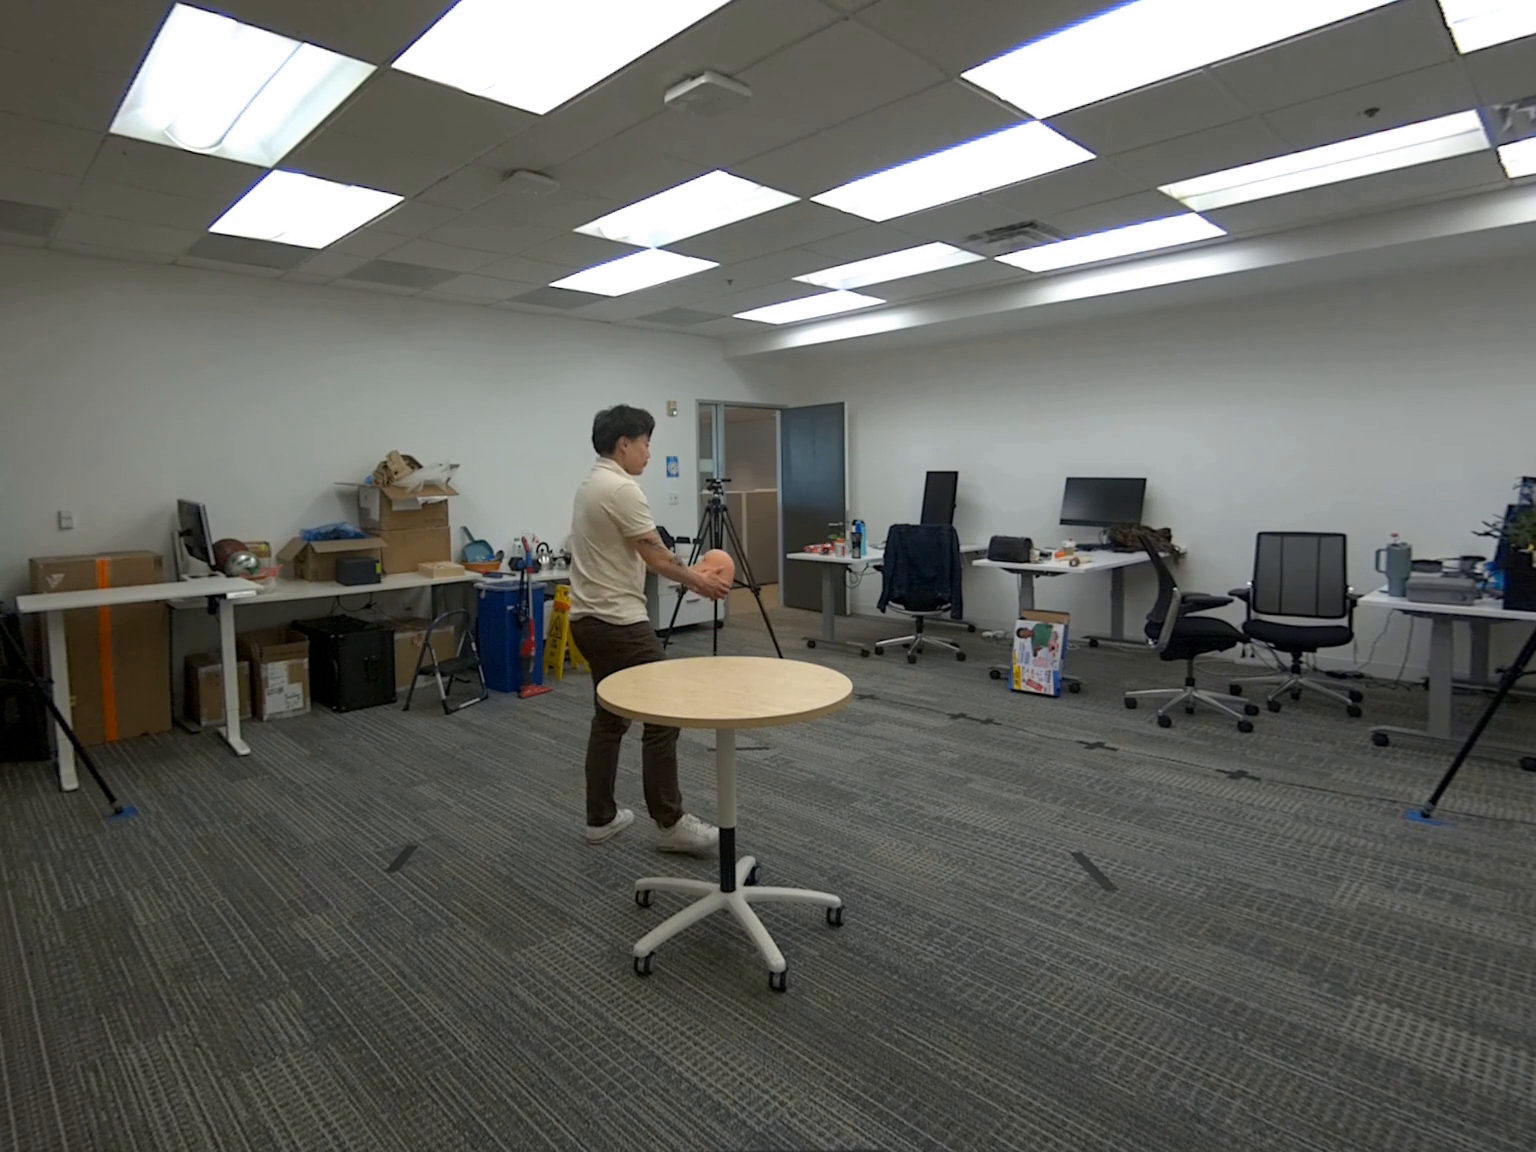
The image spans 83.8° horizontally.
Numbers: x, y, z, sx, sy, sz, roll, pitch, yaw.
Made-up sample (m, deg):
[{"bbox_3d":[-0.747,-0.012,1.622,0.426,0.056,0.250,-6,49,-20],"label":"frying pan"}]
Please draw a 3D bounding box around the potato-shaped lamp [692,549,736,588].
[{"bbox_3d":[-0.227,-0.009,3.449,0.168,0.198,0.167,14,-1,-16],"label":"potato-shaped lamp"}]
